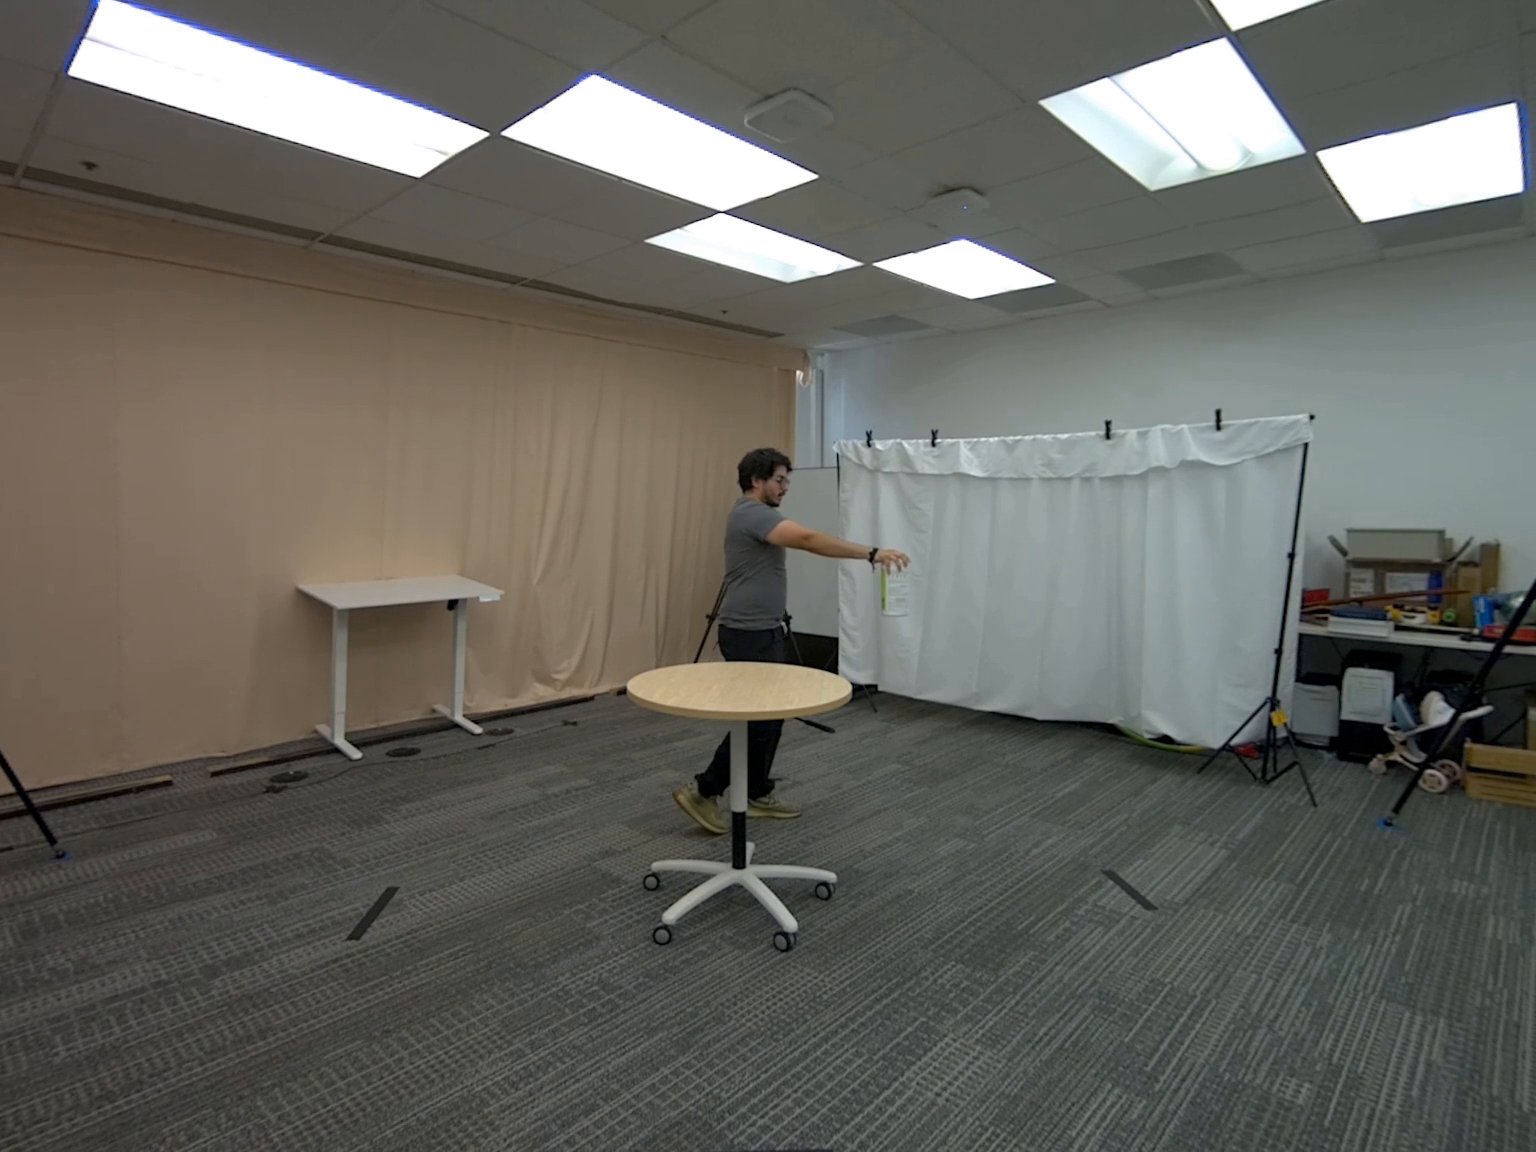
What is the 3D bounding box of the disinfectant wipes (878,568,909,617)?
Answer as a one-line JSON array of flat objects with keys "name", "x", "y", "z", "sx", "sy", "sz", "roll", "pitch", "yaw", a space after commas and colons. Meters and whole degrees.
[{"name": "disinfectant wipes", "x": 0.510, "y": 0.054, "z": 3.350, "sx": 0.117, "sy": 0.217, "sz": 0.118, "roll": 1, "pitch": 4, "yaw": -2}]
